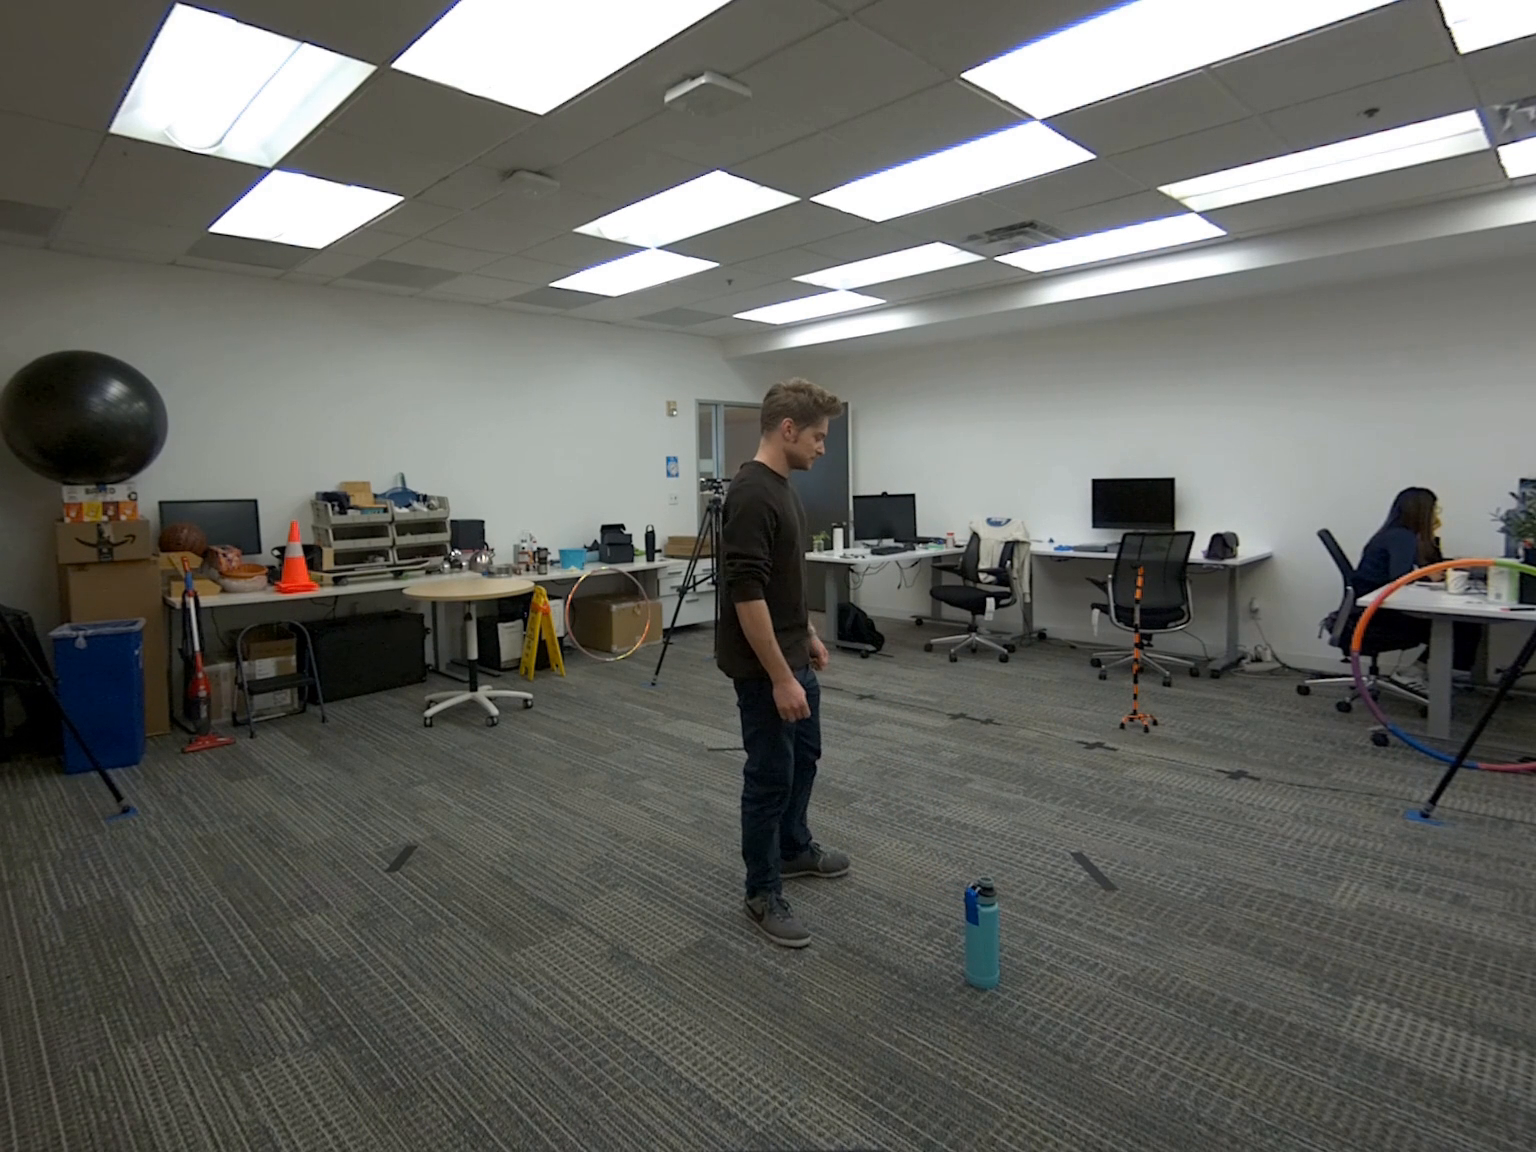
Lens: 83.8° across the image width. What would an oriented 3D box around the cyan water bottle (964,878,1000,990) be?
[{"bbox_3d":[0.600,0.982,2.350,0.092,0.282,0.093,-2,3,-2],"label":"cyan water bottle"}]
